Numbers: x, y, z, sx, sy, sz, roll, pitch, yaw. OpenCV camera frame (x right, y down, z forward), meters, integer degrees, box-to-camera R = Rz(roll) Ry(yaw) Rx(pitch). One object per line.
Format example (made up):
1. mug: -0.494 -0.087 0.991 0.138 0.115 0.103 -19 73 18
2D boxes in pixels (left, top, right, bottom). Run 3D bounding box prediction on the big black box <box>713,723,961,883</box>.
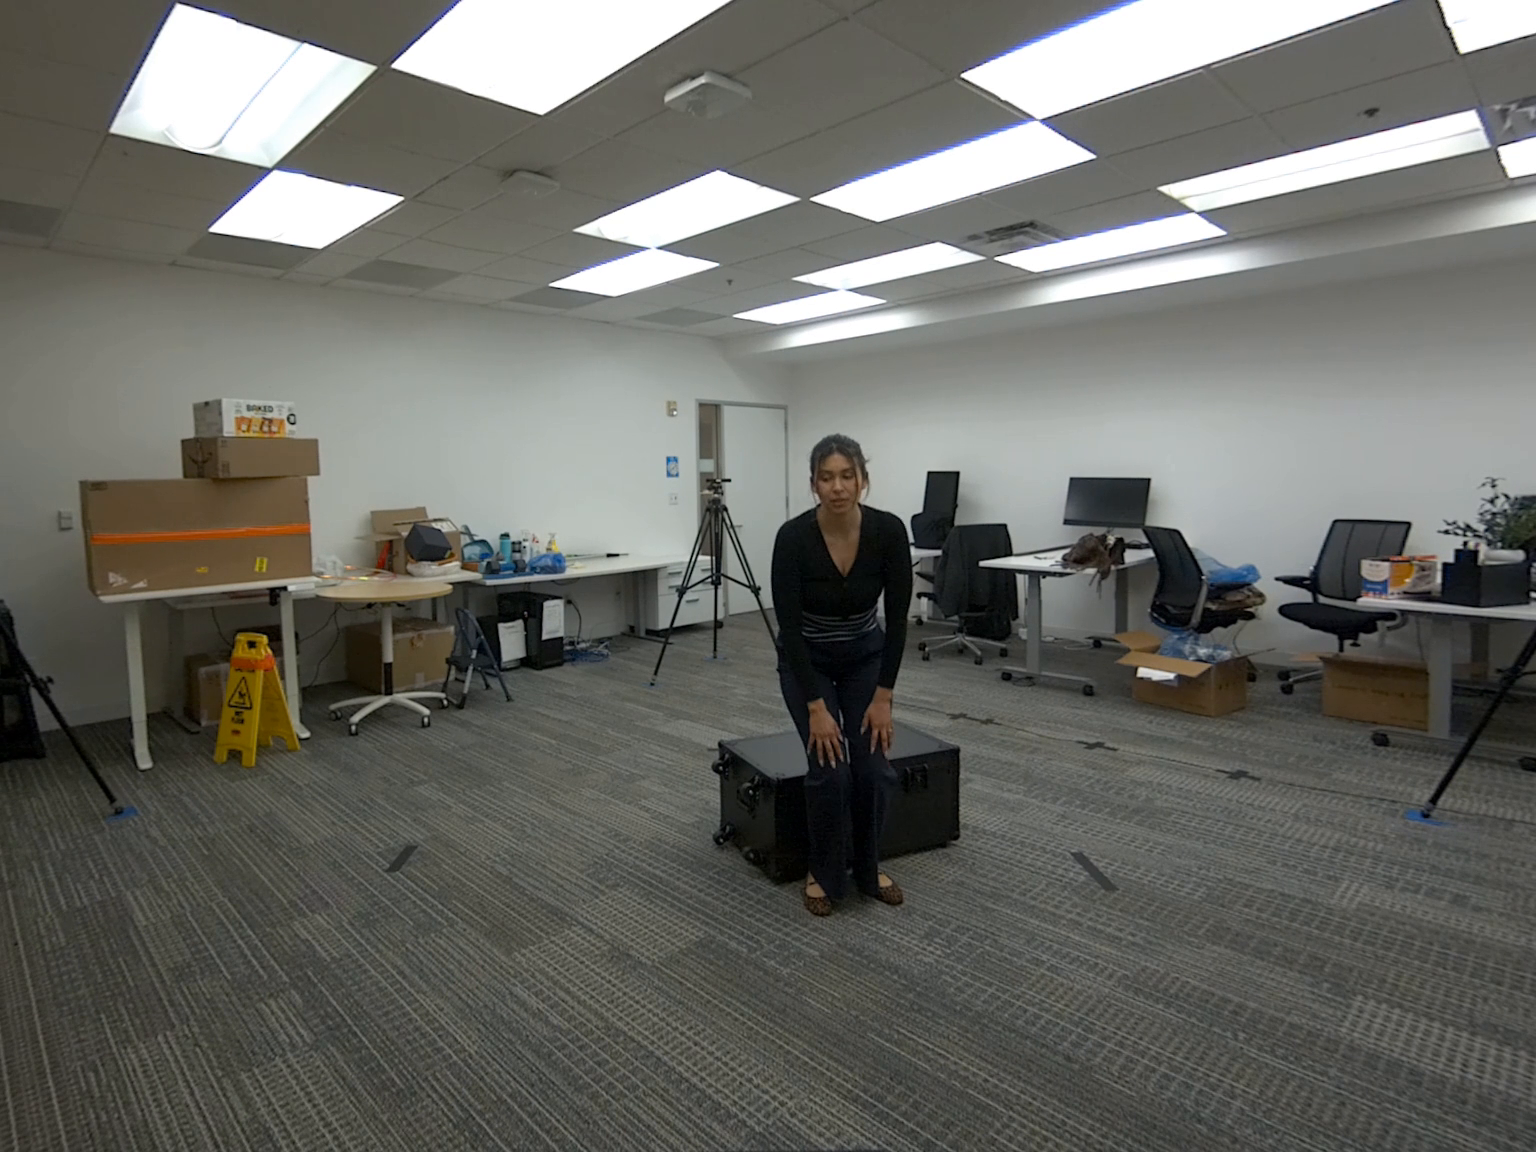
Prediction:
1. big black box: 0.290 0.826 3.289 0.844 0.394 0.534 -4 6 -25
